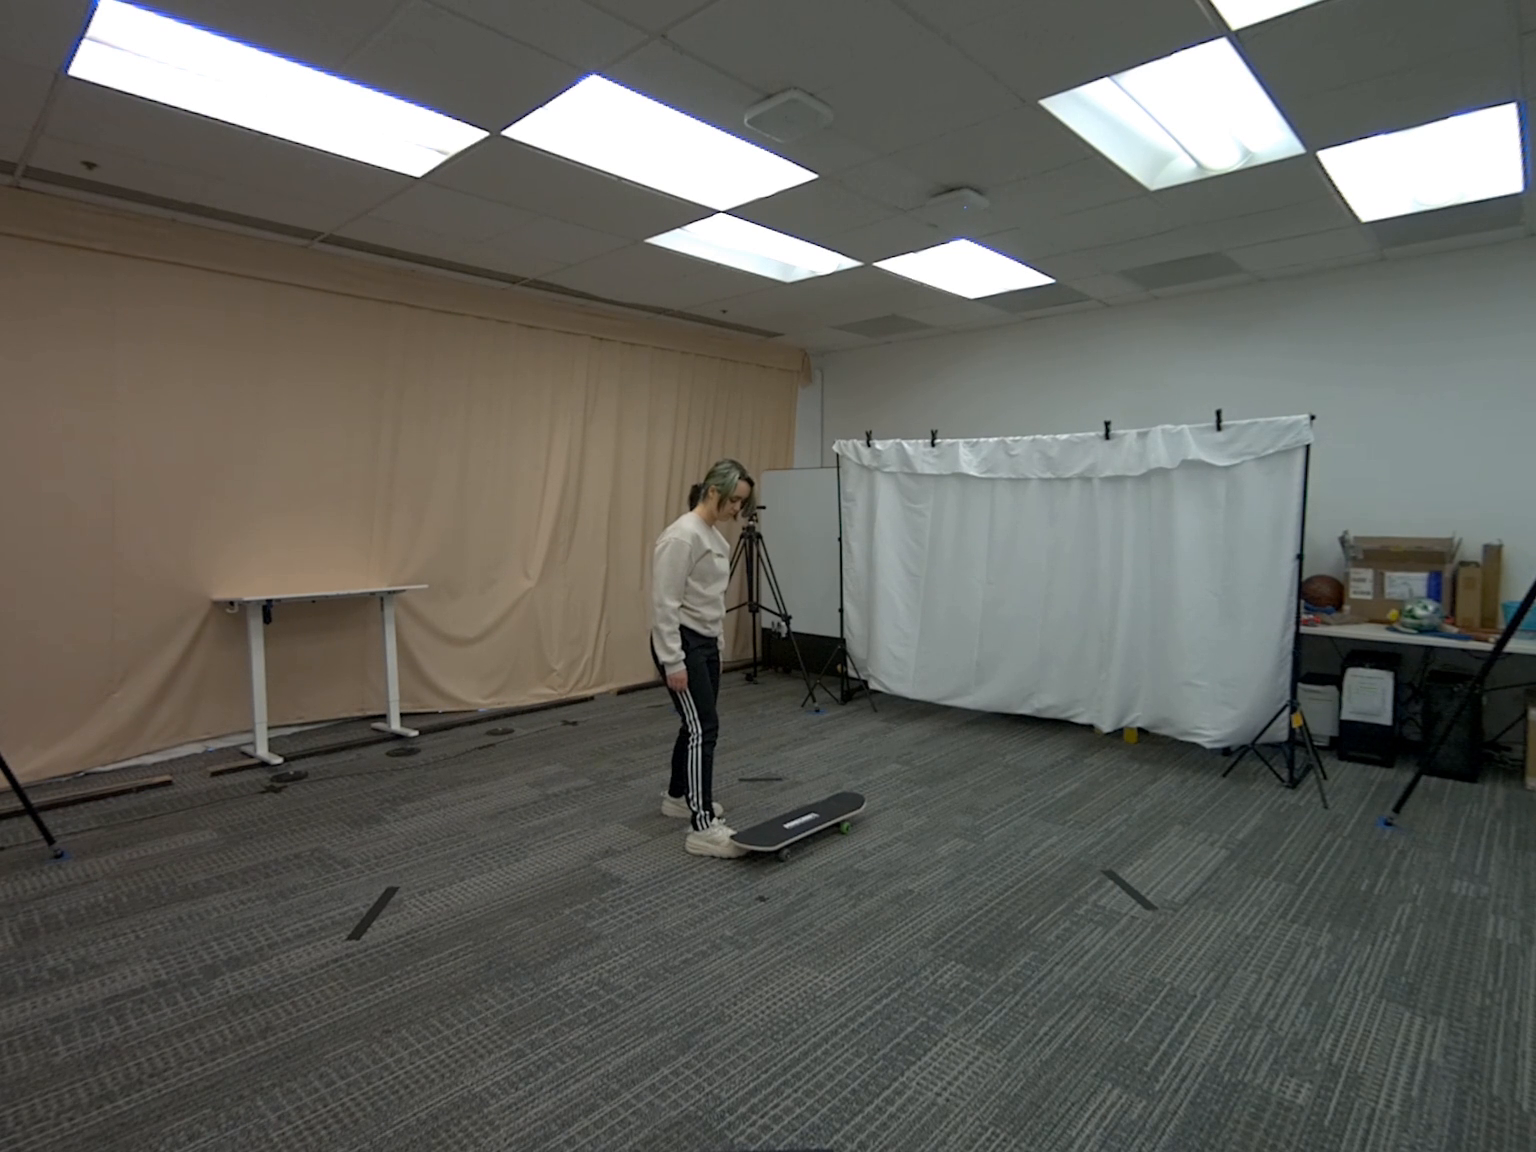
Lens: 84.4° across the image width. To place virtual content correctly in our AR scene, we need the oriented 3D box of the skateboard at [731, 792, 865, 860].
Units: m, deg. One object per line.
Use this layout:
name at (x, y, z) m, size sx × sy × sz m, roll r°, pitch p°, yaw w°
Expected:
skateboard at (0.143, 1.049, 3.486) m, size 0.200 × 0.110 × 0.761 m, roll 5°, pitch 7°, yaw 43°
